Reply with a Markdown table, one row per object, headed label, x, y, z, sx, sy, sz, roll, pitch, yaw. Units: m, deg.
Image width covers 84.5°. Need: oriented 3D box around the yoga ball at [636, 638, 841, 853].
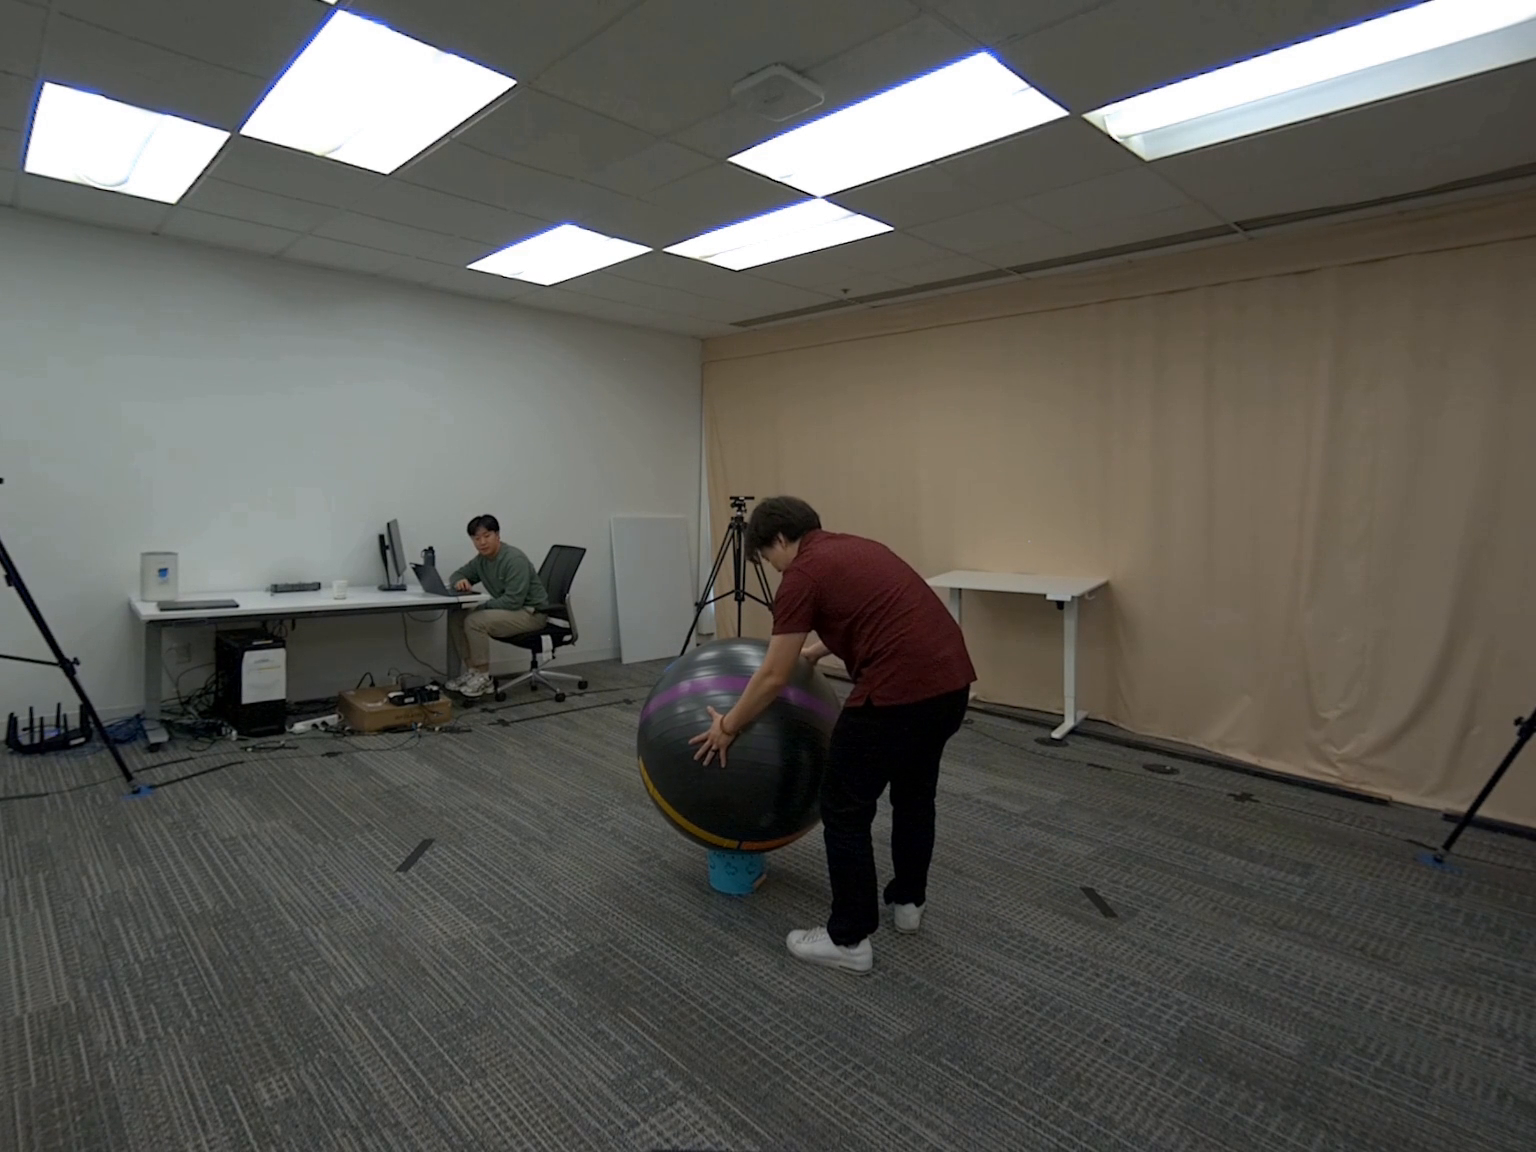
| label | x | y | z | sx | sy | sz | roll | pitch | yaw |
| --- | --- | --- | --- | --- | --- | --- | --- | --- | --- |
| yoga ball | -0.096 | 0.606 | 3.036 | 0.757 | 0.756 | 0.761 | 1 | 4 | -1 |
